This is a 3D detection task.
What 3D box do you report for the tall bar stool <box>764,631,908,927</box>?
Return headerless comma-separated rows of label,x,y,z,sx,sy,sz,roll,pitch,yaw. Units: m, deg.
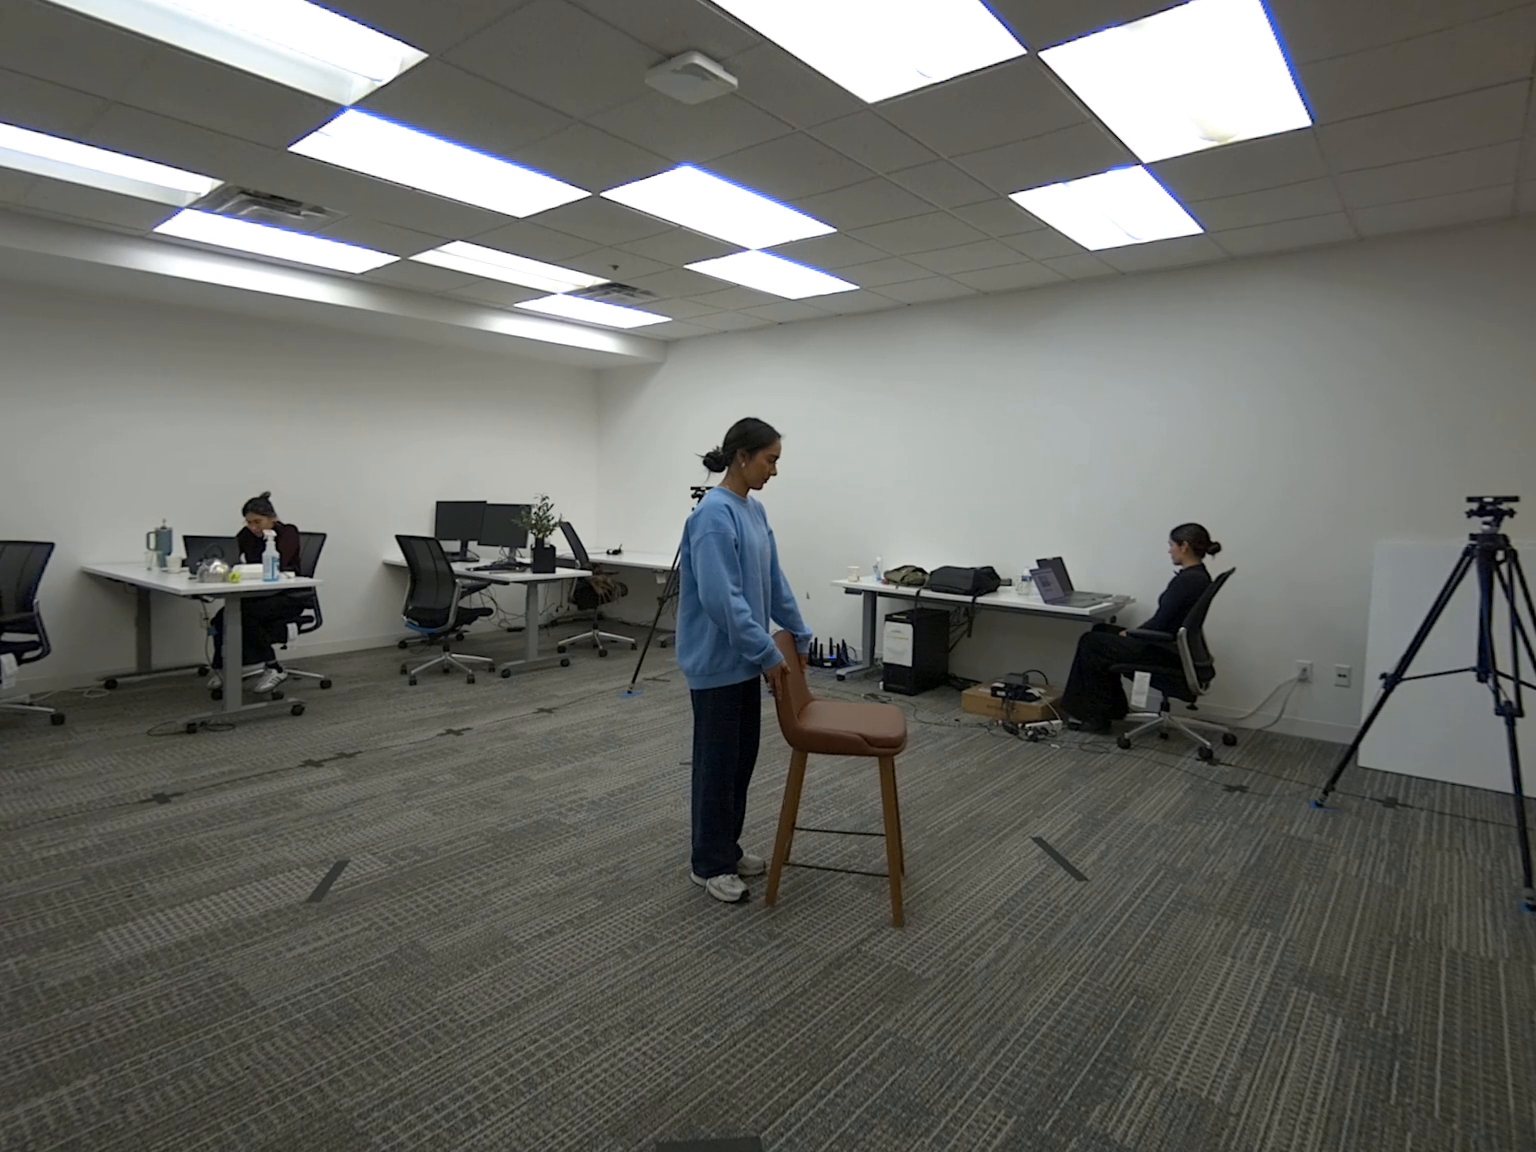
tall bar stool,0.237,0.654,2.939,0.474,0.888,0.452,0,2,11
